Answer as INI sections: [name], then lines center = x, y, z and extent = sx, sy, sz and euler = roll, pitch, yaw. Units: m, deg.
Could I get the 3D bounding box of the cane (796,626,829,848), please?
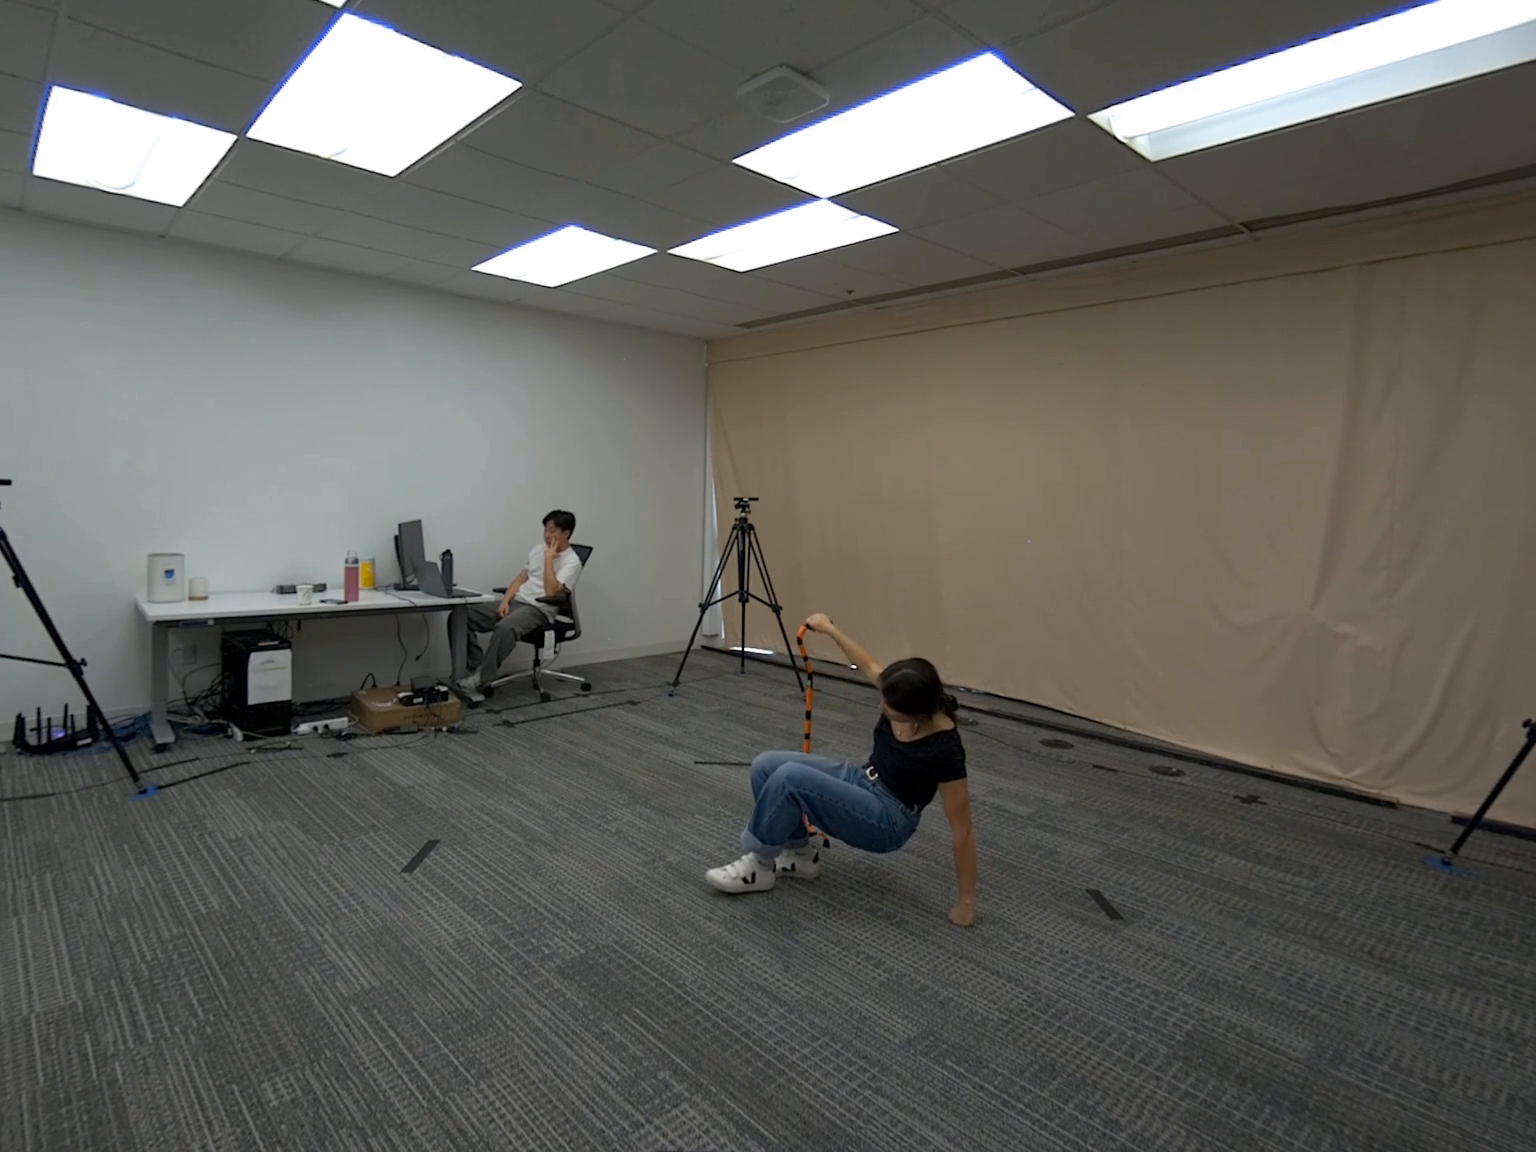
[cane]
center = 0.143, 0.635, 3.390
extent = 0.202, 0.906, 0.155
euler = 1, 3, -30
